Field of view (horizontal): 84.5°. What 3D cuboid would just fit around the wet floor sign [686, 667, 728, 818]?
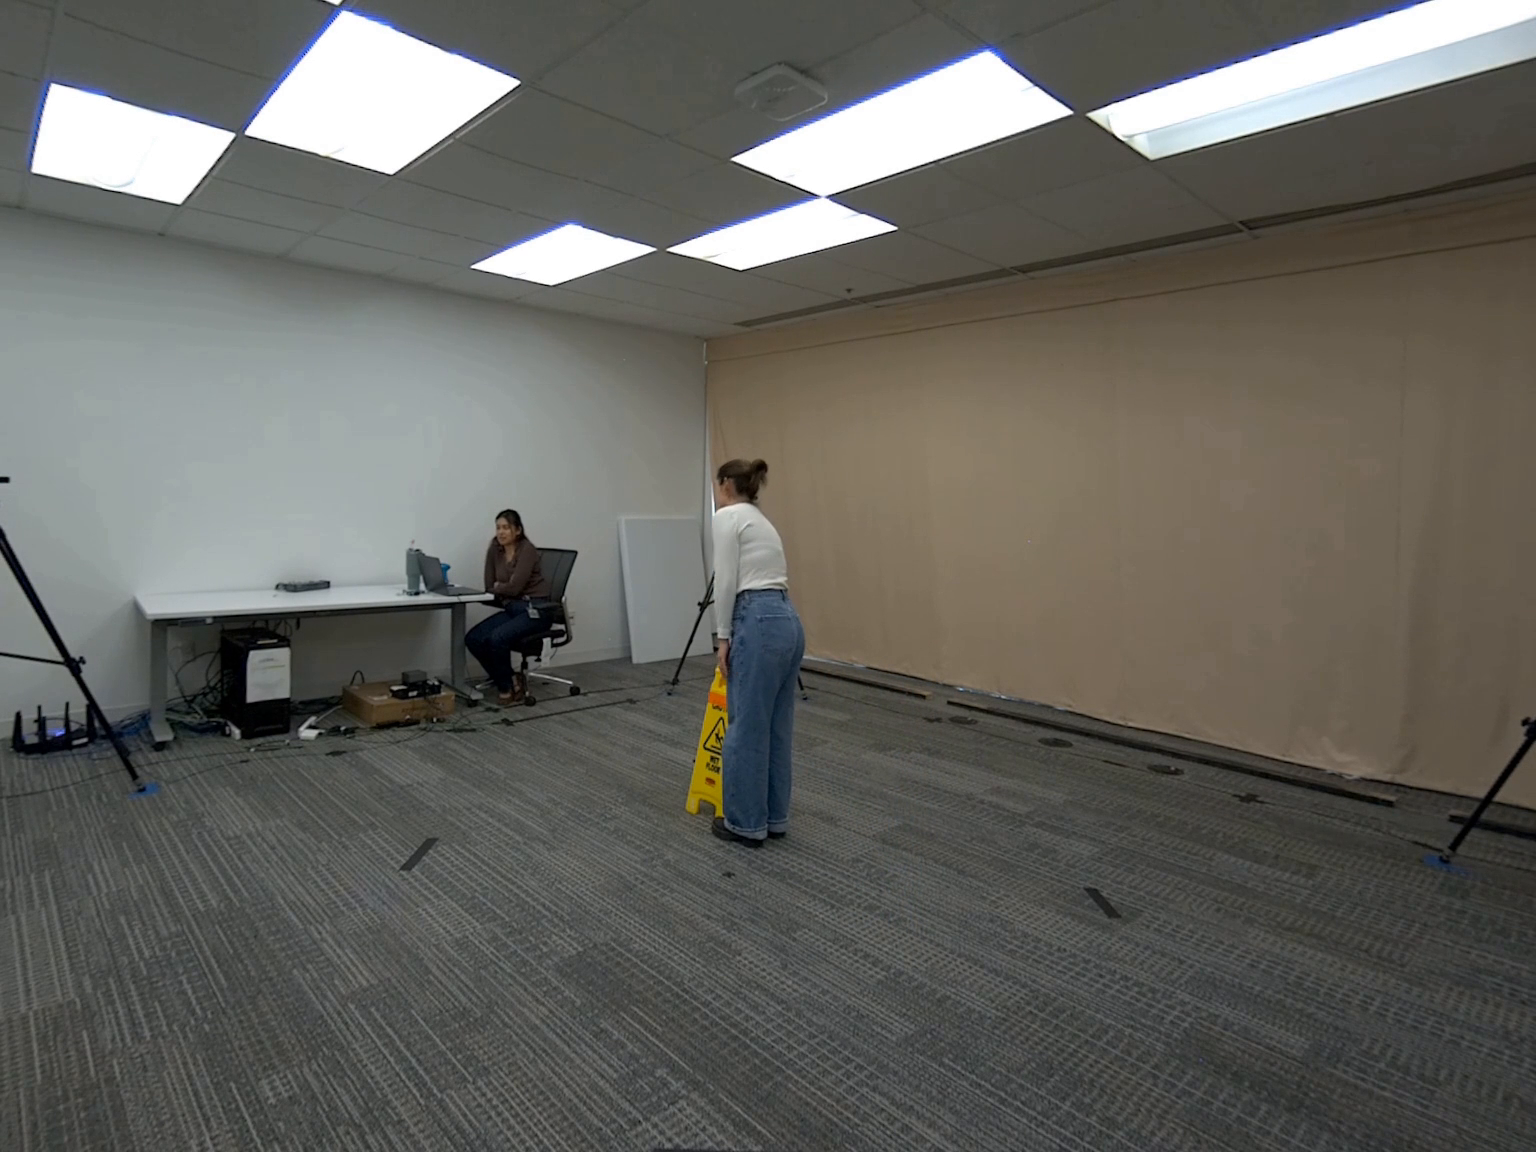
[{"bbox_3d":[-0.176,0.726,3.718,0.283,0.645,0.289,-2,4,-42],"label":"wet floor sign"}]
